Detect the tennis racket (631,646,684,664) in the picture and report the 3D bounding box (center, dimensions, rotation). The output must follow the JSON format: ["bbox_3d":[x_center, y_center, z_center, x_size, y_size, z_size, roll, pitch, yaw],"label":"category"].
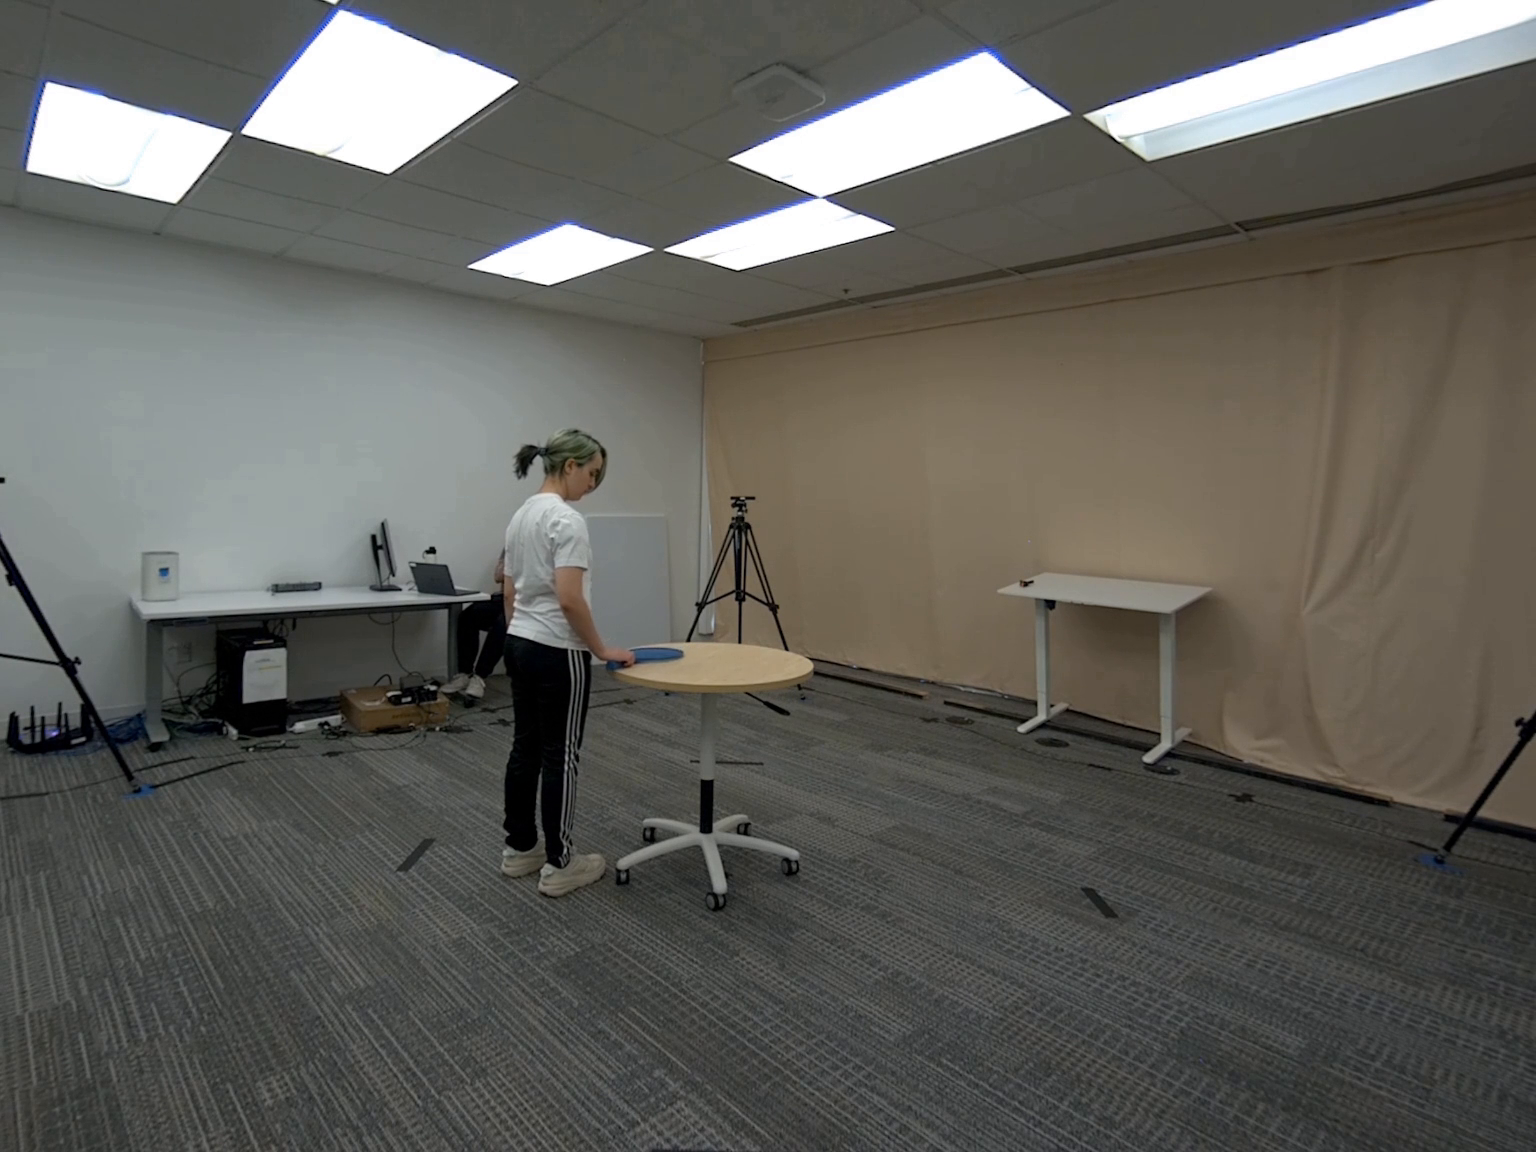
[{"bbox_3d":[-0.477,0.300,3.110,0.218,0.032,0.425,5,5,26],"label":"tennis racket"}]
